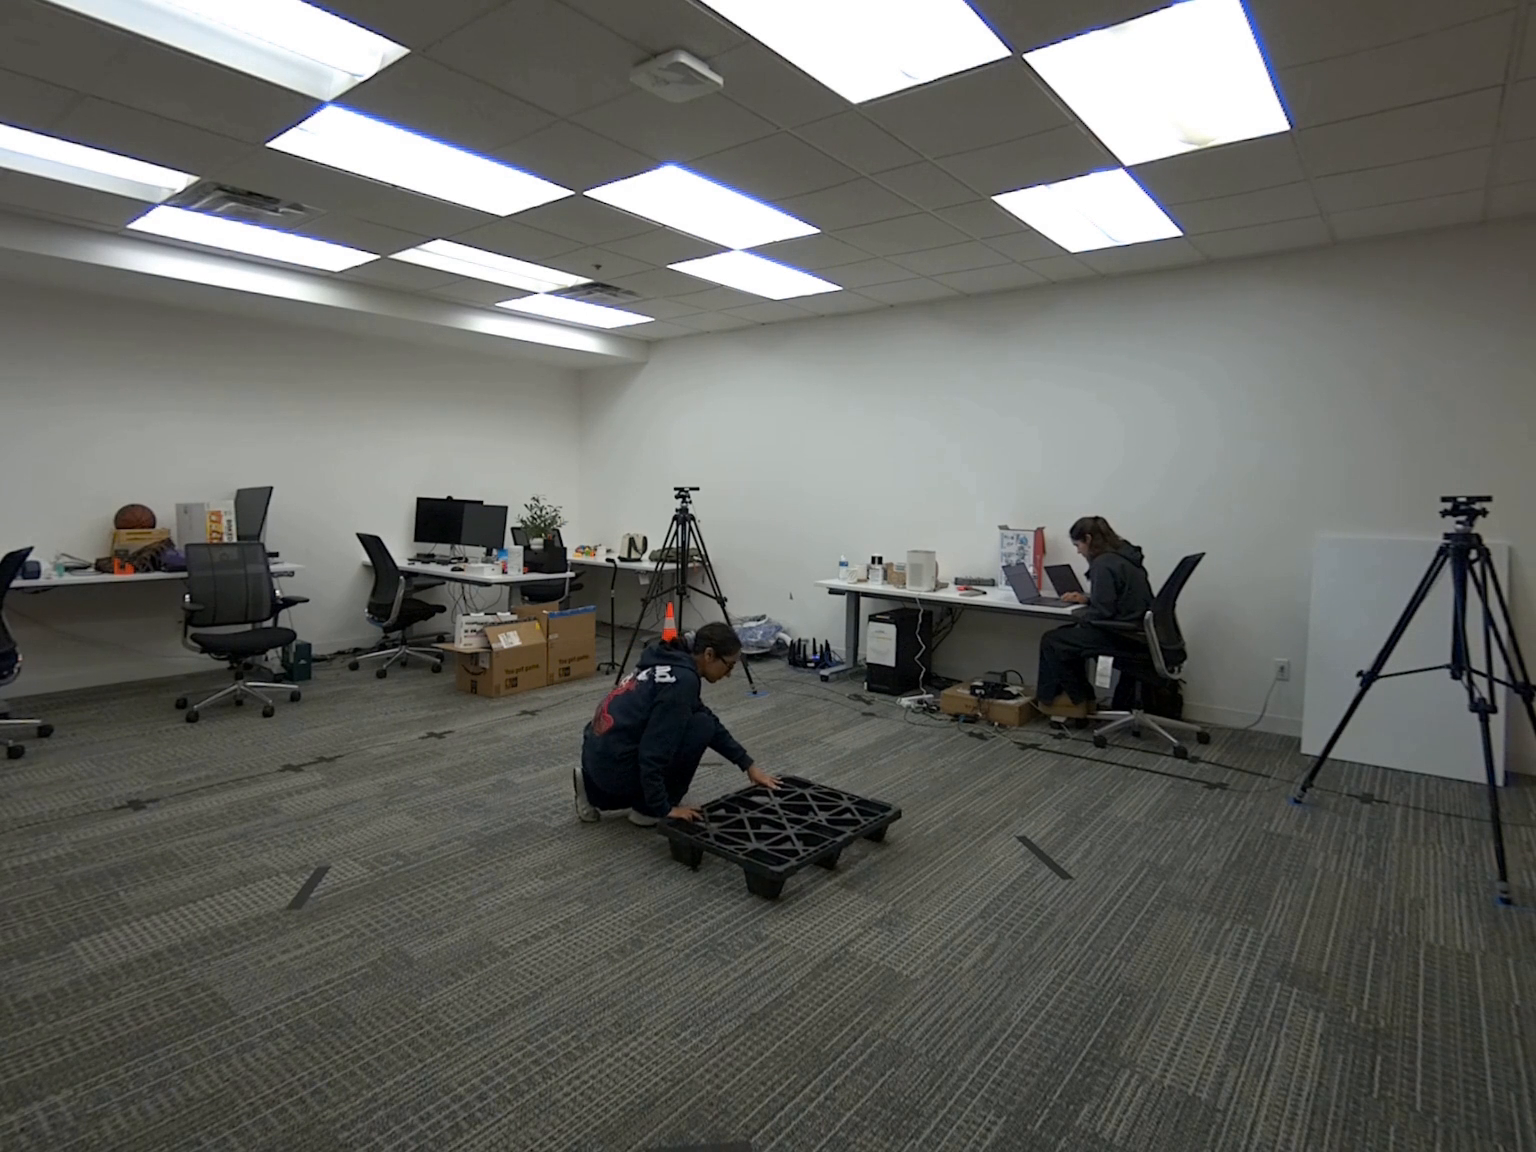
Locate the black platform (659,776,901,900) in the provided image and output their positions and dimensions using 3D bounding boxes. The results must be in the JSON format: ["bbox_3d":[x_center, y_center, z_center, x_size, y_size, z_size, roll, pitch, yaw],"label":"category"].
[{"bbox_3d":[0.042,0.985,3.285,0.626,0.143,0.782,5,7,40],"label":"black platform"}]
